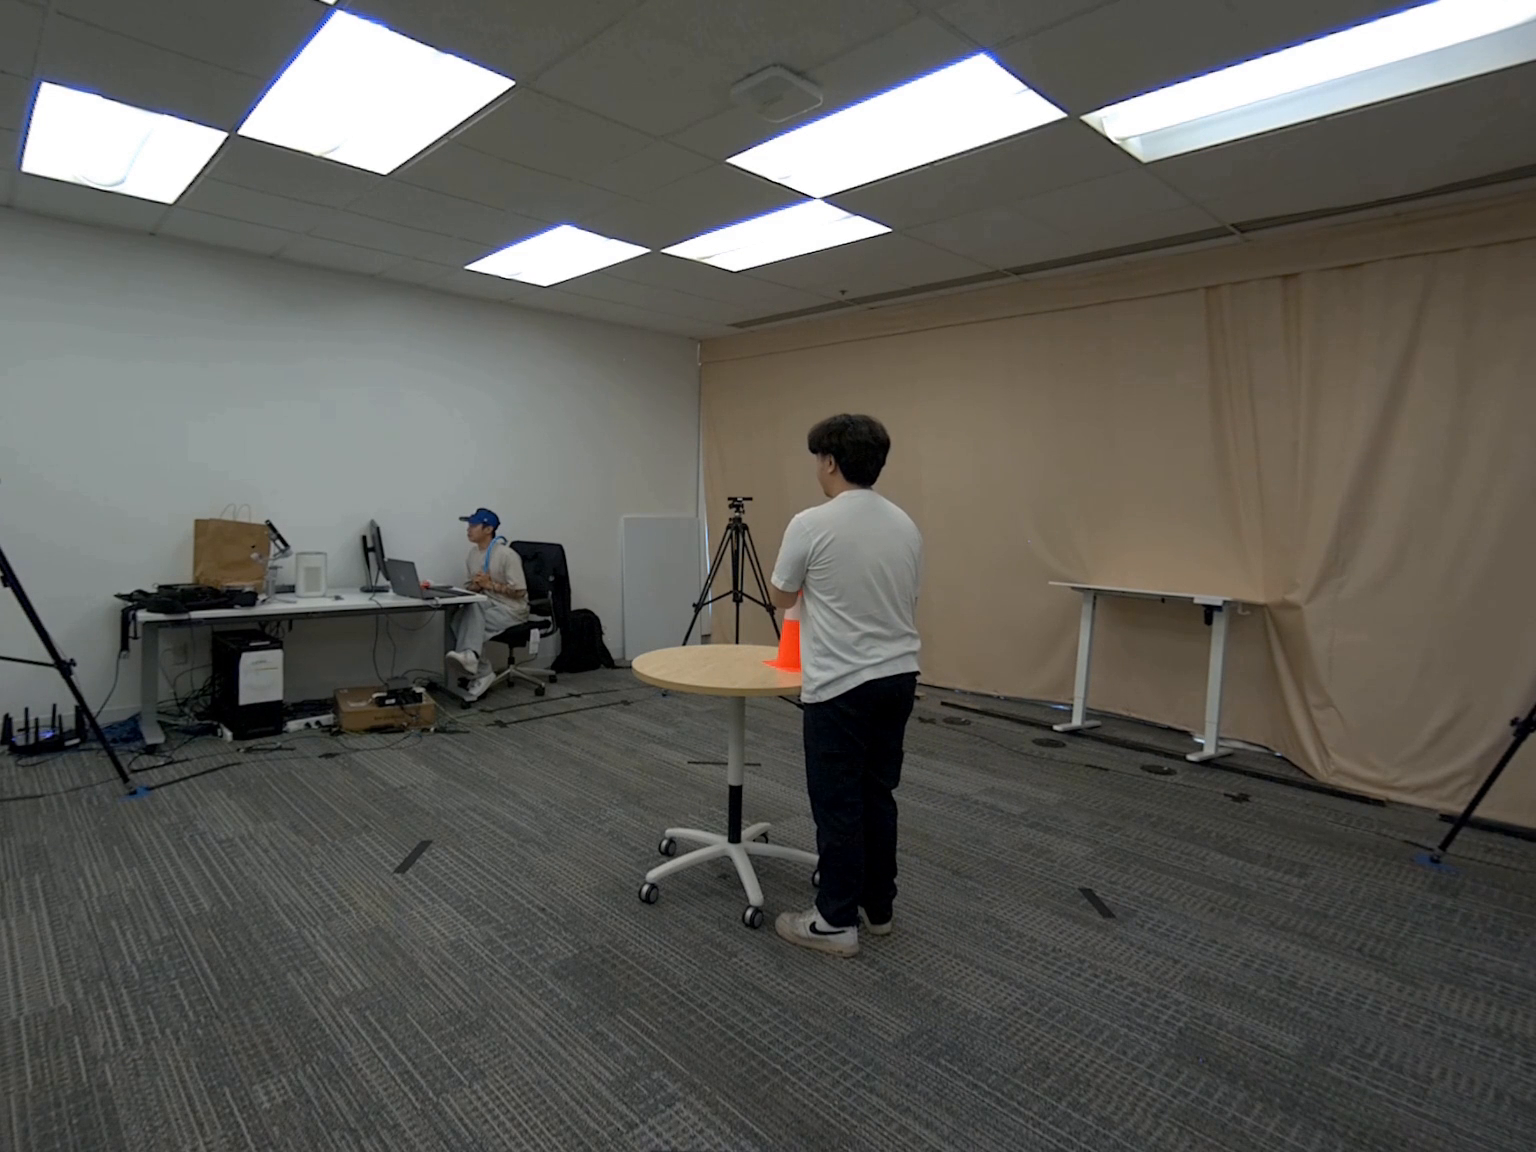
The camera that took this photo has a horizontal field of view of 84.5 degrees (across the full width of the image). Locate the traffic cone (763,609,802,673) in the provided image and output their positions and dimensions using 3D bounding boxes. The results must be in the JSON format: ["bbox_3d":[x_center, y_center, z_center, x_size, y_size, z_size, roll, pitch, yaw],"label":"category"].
[{"bbox_3d":[0.109,0.136,3.024,0.200,0.382,0.209,-1,6,-40],"label":"traffic cone"}]
